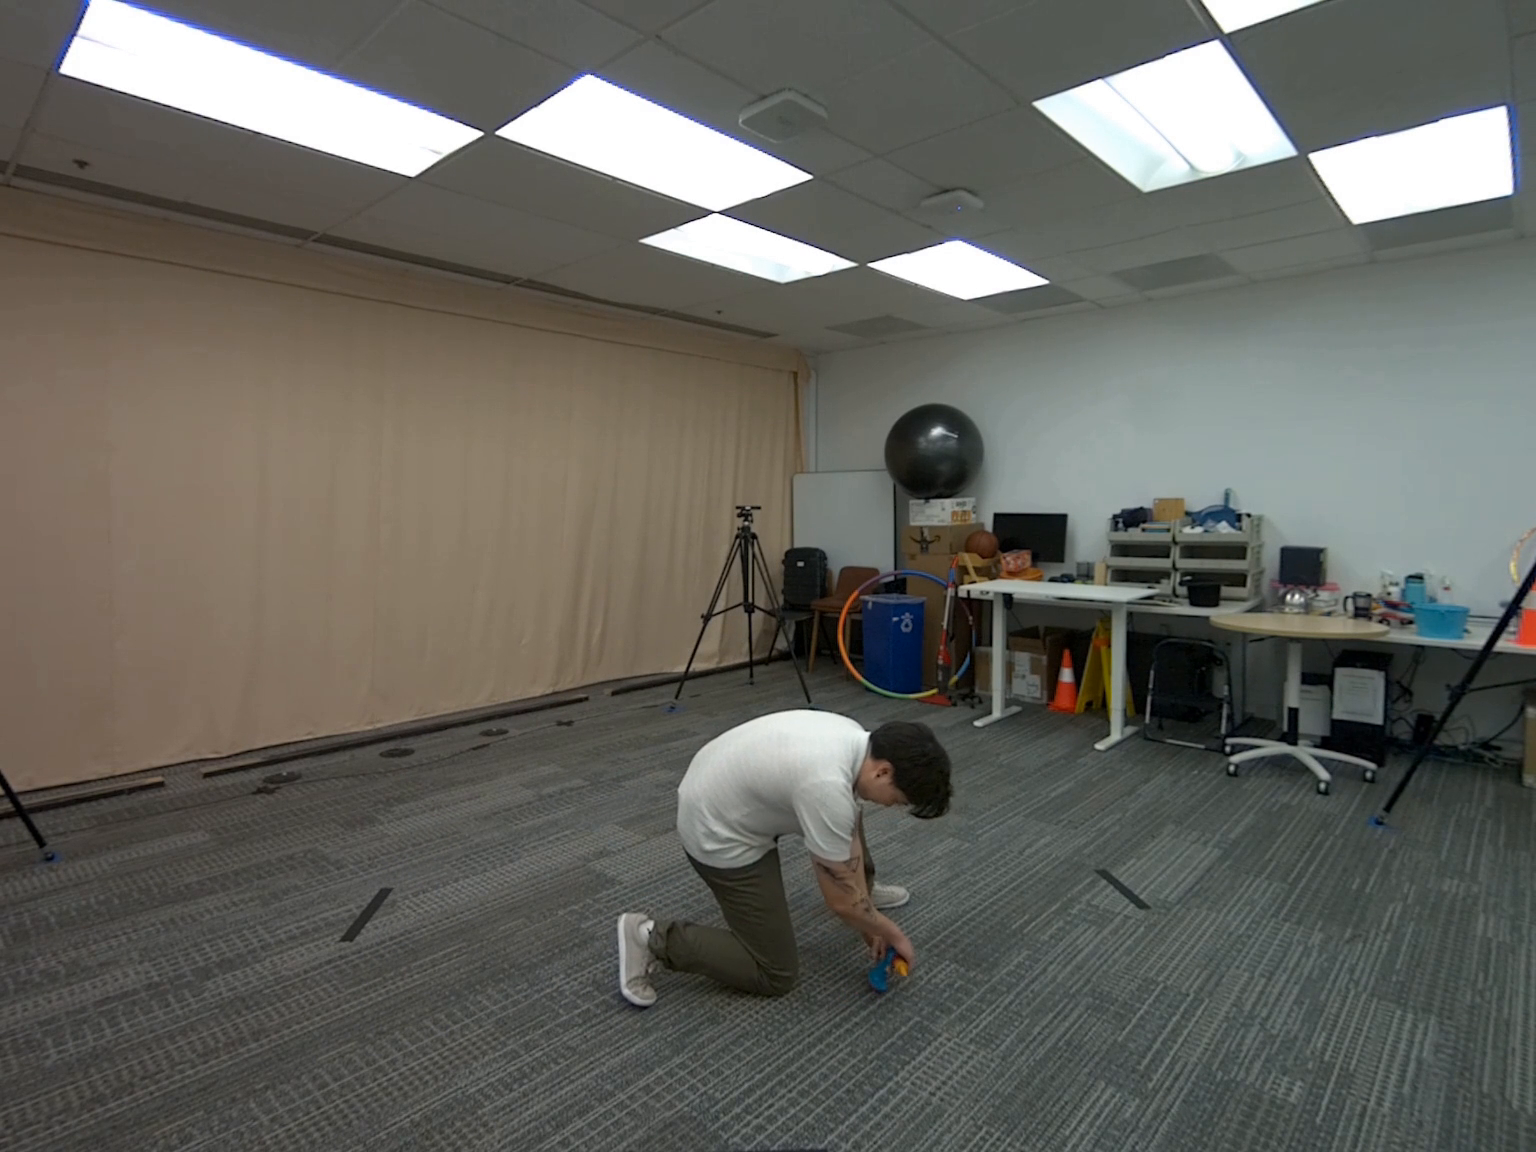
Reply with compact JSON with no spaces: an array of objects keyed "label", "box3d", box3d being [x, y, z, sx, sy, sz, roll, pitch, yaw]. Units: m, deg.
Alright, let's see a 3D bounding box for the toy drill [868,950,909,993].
[{"label":"toy drill","box3d":[0.342,1.110,2.392,0.061,0.146,0.170,26,5,-5]}]
